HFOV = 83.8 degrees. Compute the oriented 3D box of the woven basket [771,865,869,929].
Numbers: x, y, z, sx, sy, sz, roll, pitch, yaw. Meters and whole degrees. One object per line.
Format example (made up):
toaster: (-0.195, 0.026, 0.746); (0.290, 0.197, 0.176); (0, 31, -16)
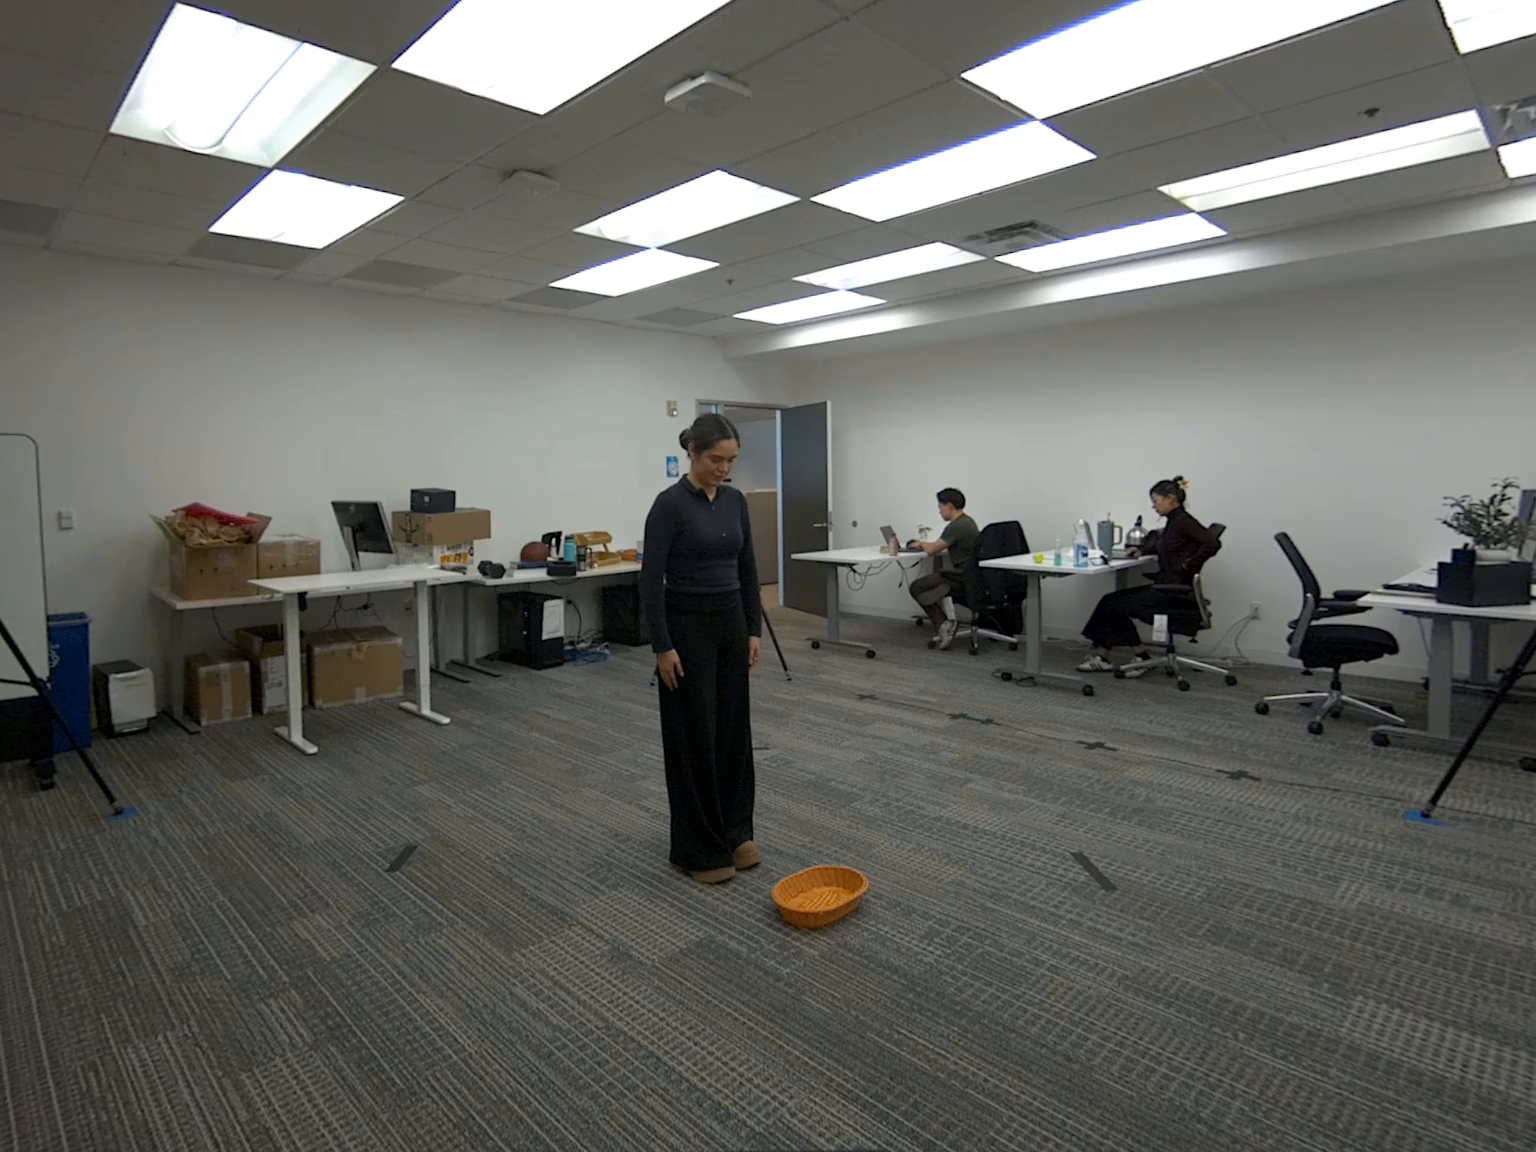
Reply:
woven basket: (0.177, 1.040, 2.768); (0.341, 0.073, 0.260); (-7, 8, -41)
